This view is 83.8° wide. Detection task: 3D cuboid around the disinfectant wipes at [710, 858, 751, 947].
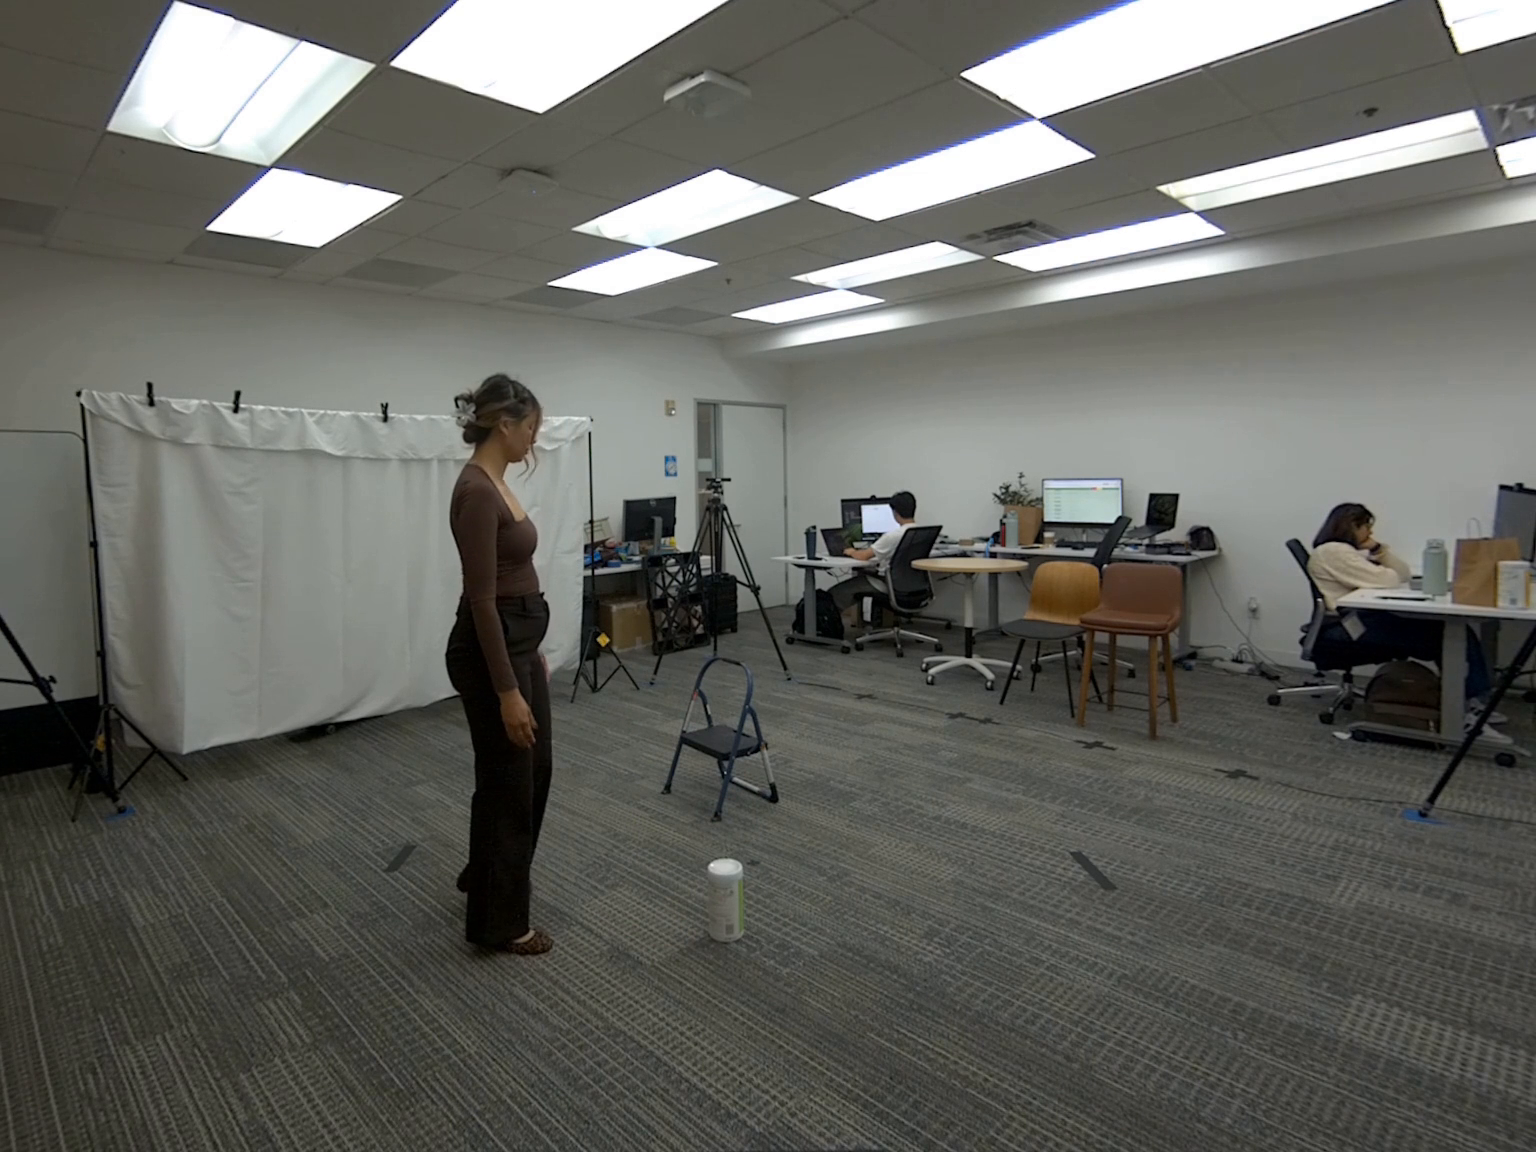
[{"bbox_3d":[-0.117,0.990,2.611,0.118,0.217,0.118,1,1,-2],"label":"disinfectant wipes"}]
